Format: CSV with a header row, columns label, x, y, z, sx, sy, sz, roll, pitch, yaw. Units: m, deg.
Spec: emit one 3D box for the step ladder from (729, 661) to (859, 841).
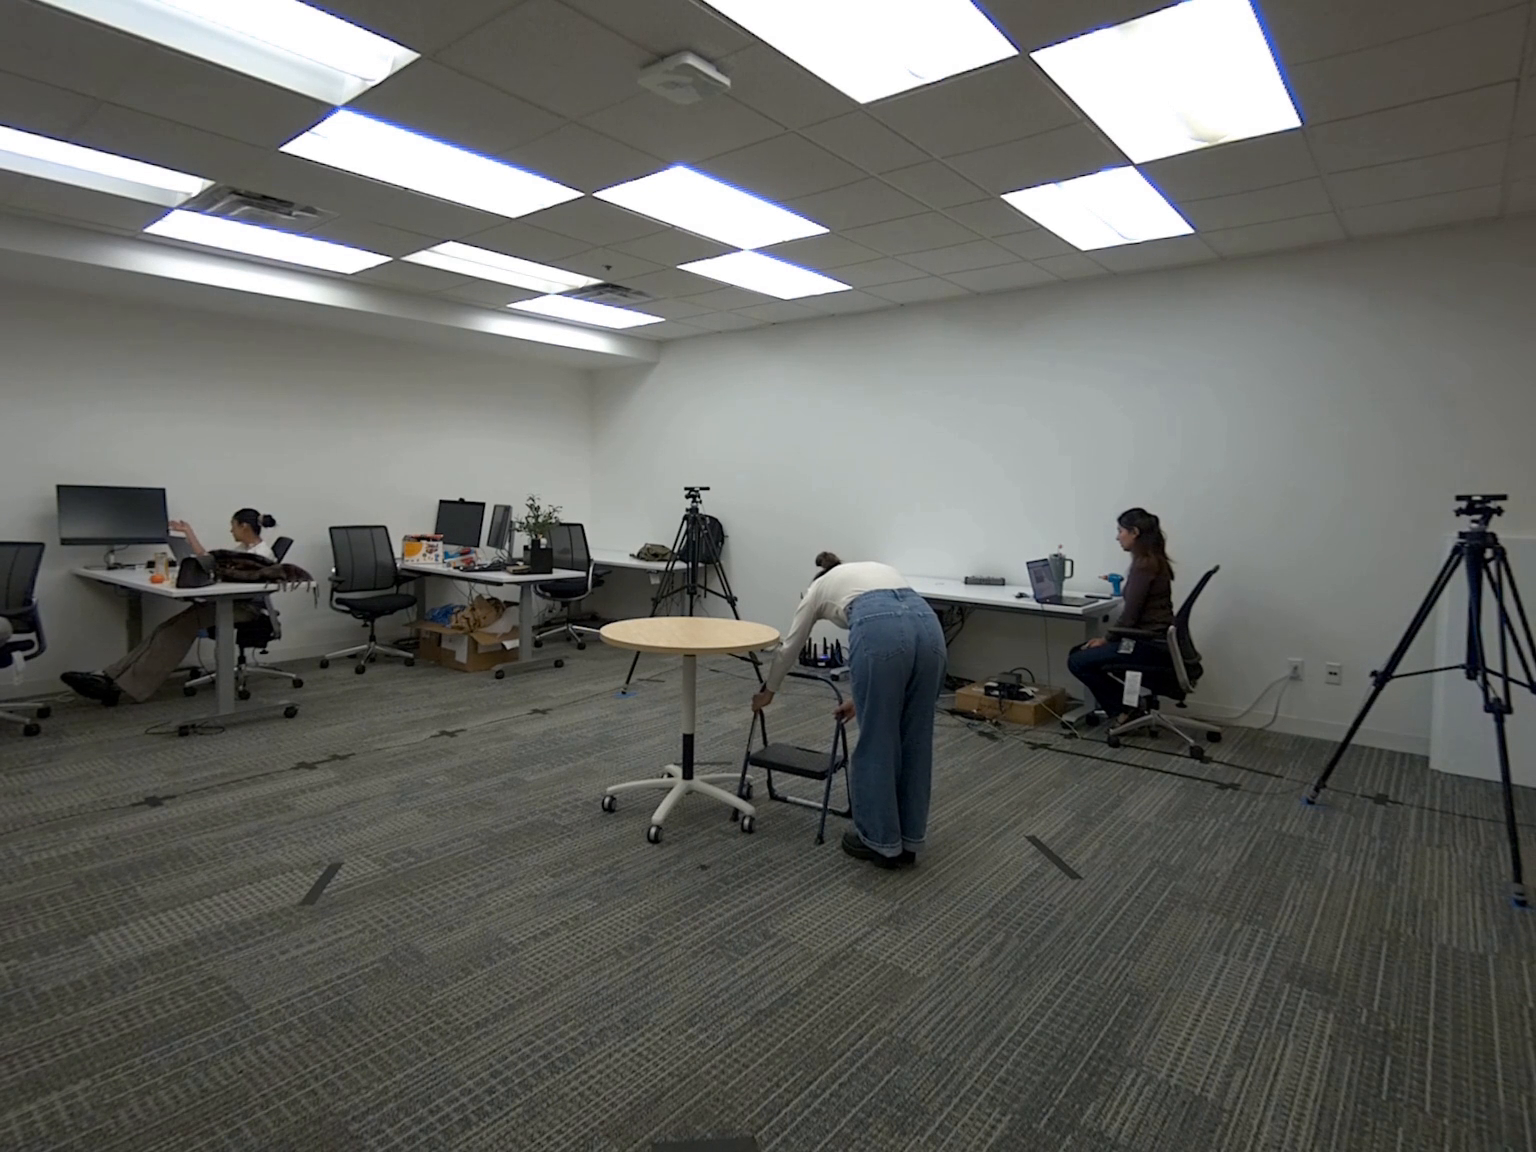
label,x,y,z,sx,sy,sz,roll,pitch,yaw
step ladder,0.111,0.715,3.575,0.443,0.604,0.340,3,4,31
